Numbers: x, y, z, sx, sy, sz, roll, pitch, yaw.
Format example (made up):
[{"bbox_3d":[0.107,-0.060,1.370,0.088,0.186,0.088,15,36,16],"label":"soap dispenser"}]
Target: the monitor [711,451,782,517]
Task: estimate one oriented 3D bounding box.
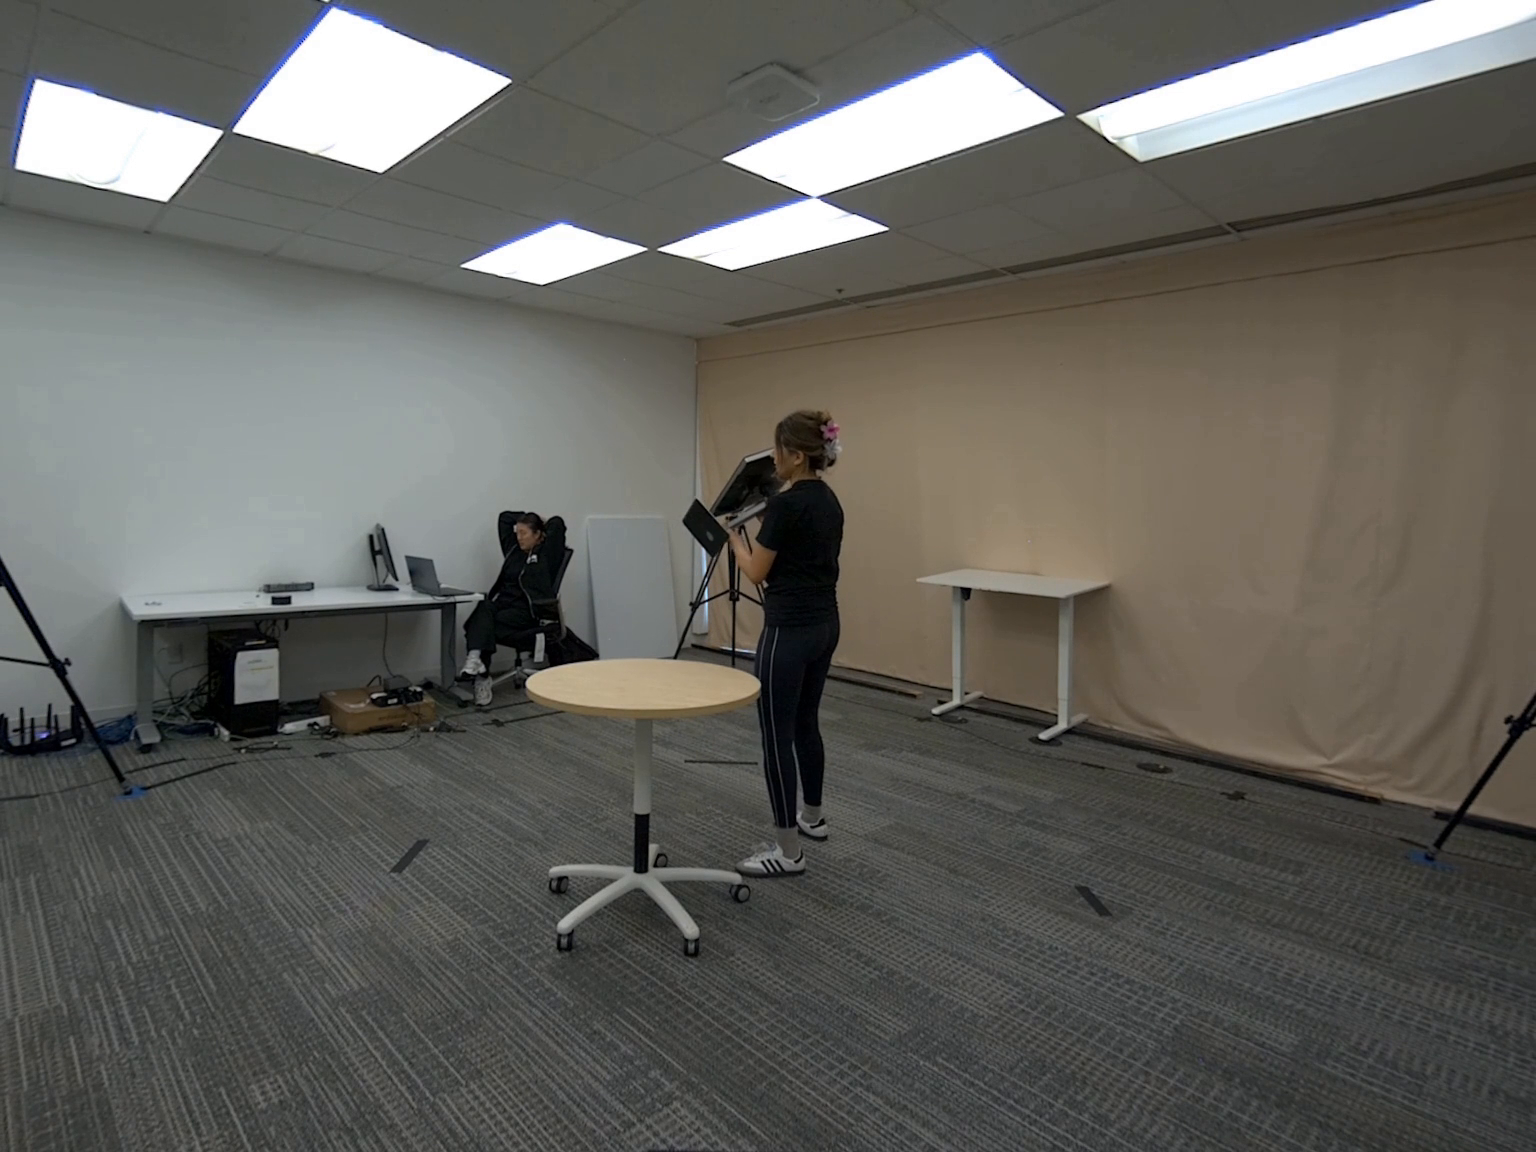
[{"bbox_3d":[-0.083,-0.342,3.524,0.520,0.188,0.539,-38,-2,-26],"label":"monitor"}]
